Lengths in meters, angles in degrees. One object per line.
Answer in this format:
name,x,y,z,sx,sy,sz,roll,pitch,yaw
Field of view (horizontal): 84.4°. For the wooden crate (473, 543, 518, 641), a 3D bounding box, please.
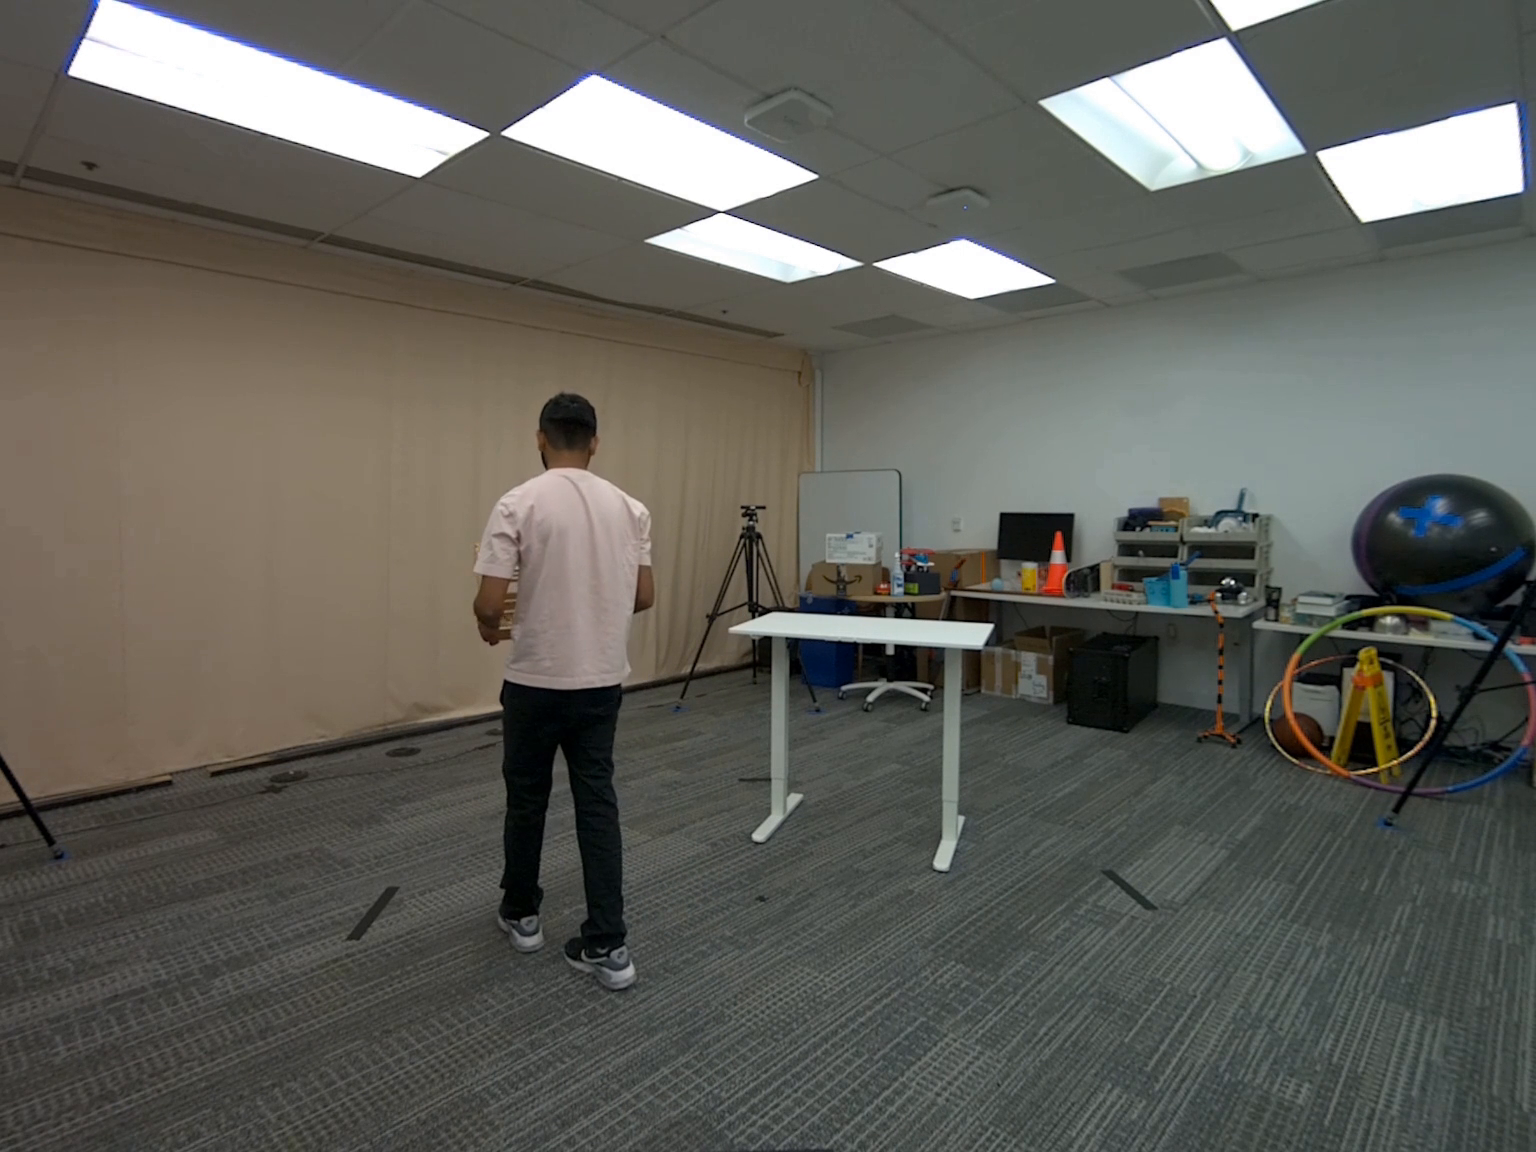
wooden crate,-0.812,0.037,2.829,0.316,0.271,0.312,-3,13,-29
